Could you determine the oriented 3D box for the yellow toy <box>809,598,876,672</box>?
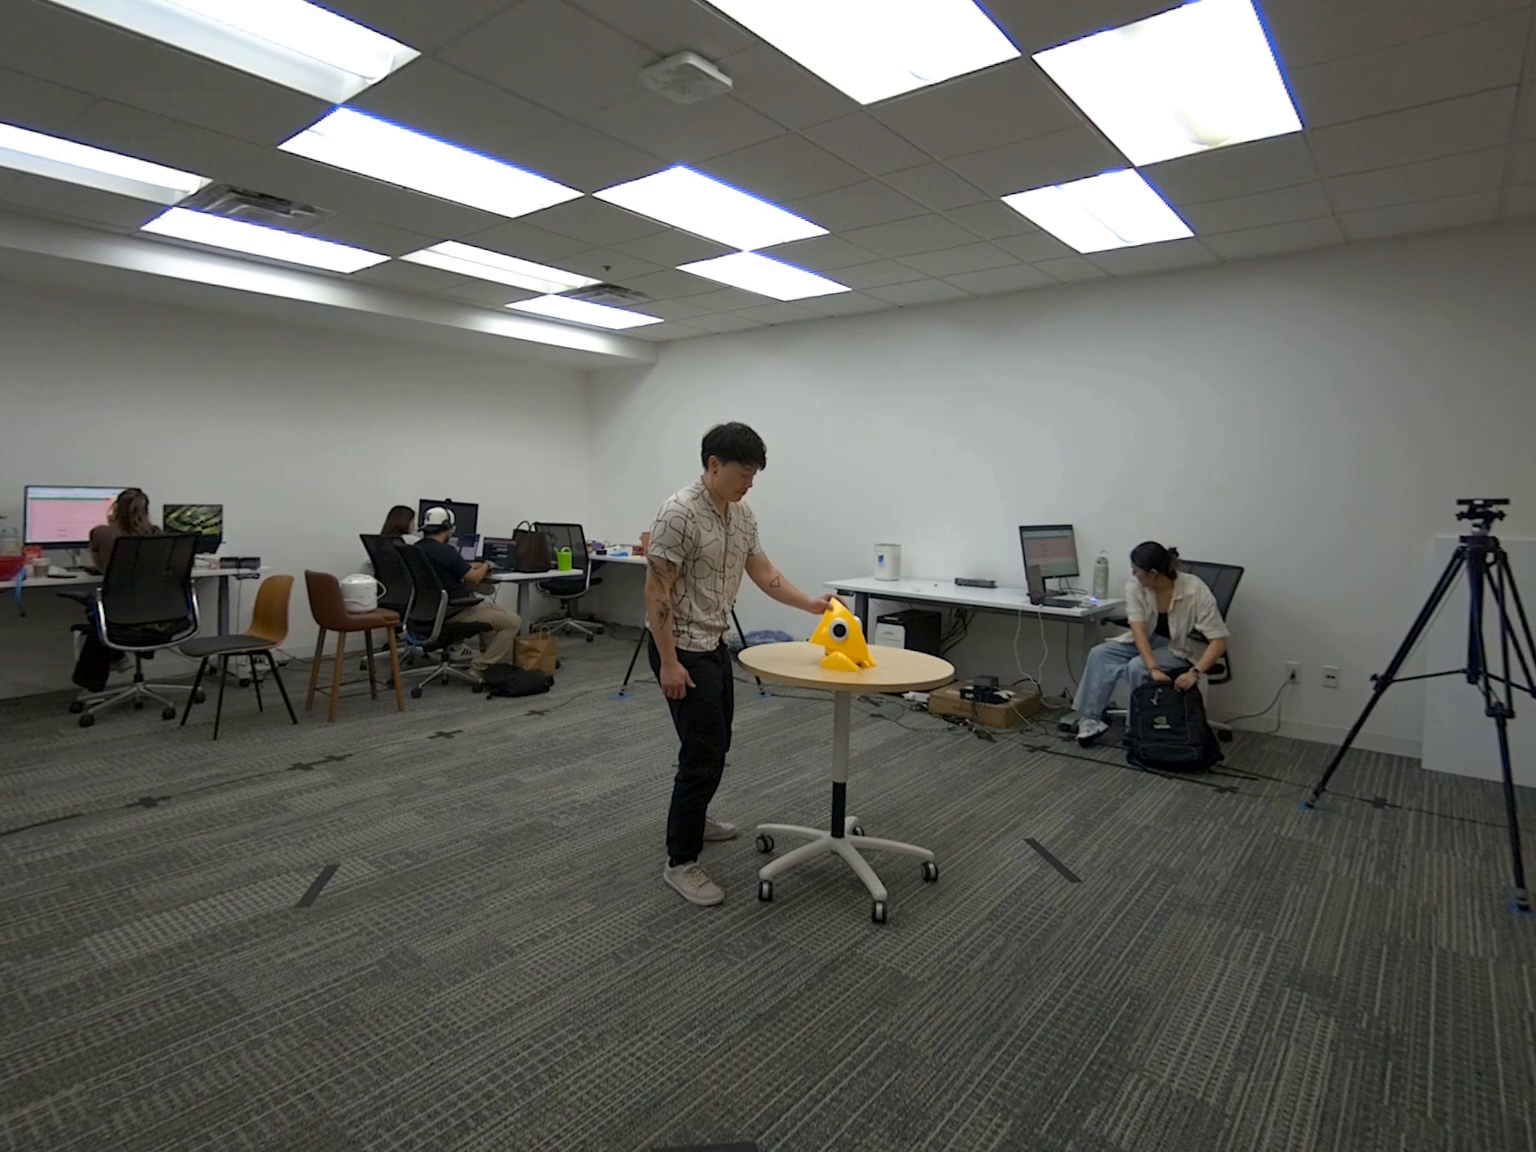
[{"bbox_3d":[0.267,0.198,2.975,0.199,0.230,0.199,4,4,37],"label":"yellow toy"}]
